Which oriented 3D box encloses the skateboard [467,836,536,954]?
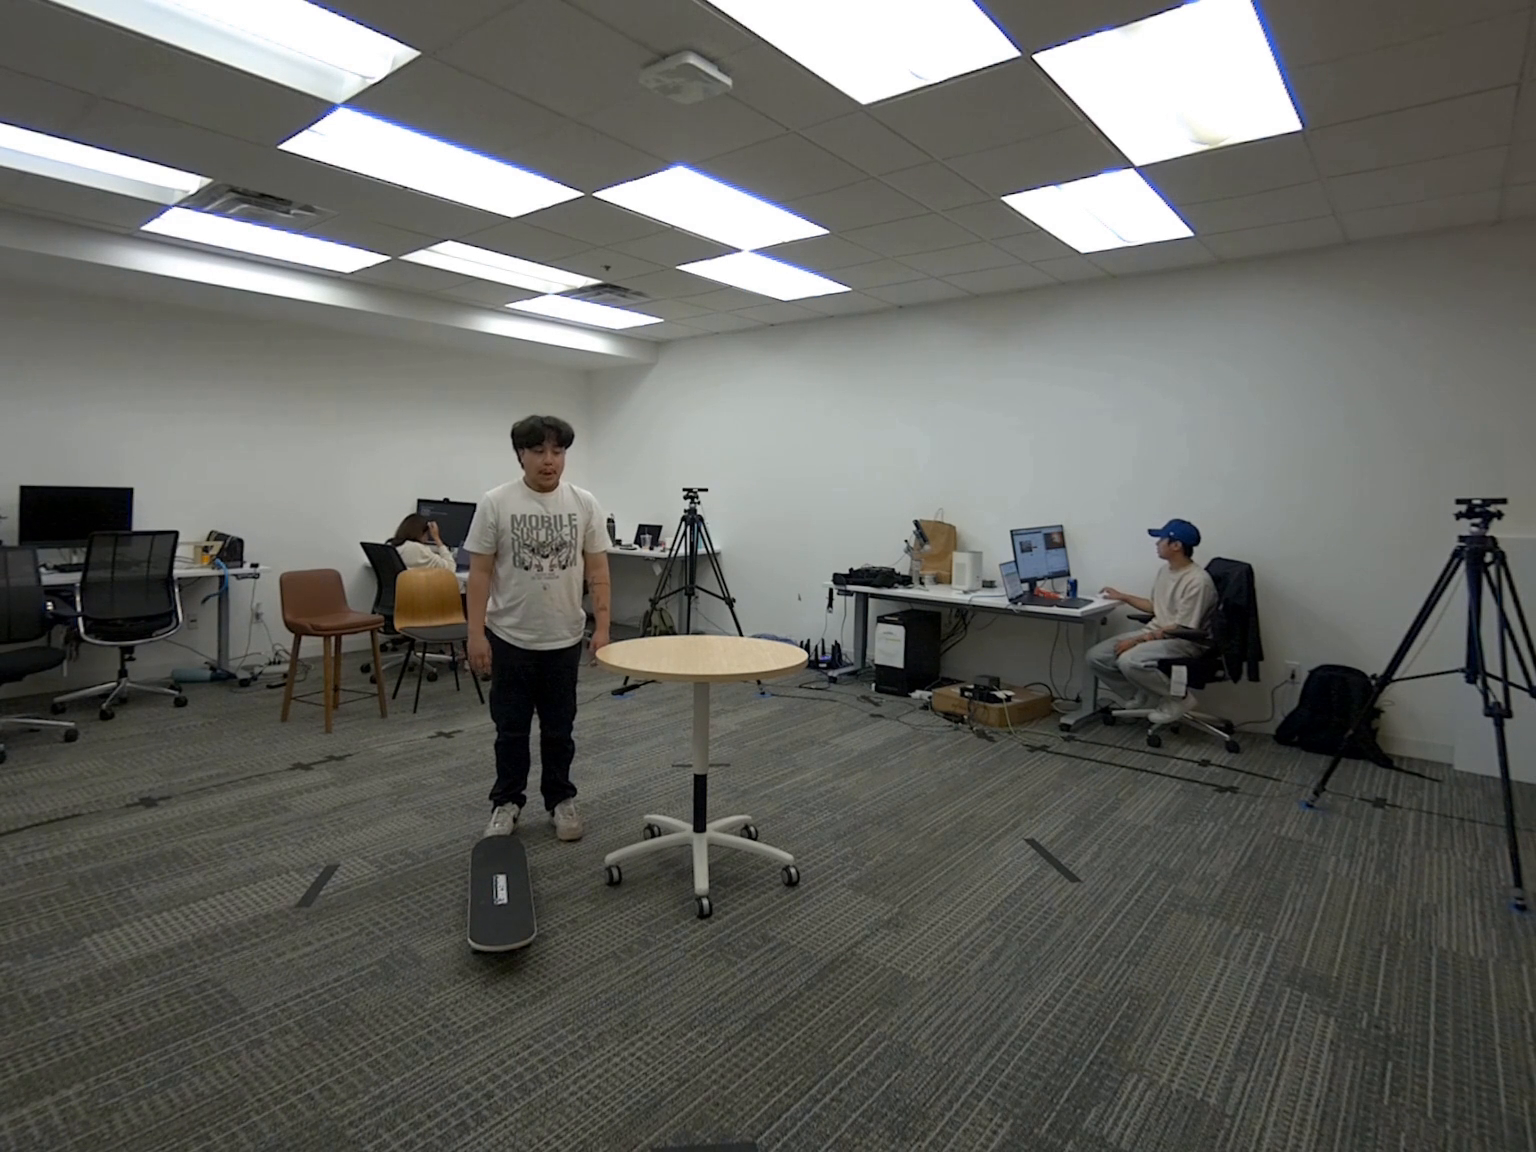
[{"bbox_3d":[-0.870,1.036,2.745,0.190,0.110,0.802,0,5,-18],"label":"skateboard"}]
